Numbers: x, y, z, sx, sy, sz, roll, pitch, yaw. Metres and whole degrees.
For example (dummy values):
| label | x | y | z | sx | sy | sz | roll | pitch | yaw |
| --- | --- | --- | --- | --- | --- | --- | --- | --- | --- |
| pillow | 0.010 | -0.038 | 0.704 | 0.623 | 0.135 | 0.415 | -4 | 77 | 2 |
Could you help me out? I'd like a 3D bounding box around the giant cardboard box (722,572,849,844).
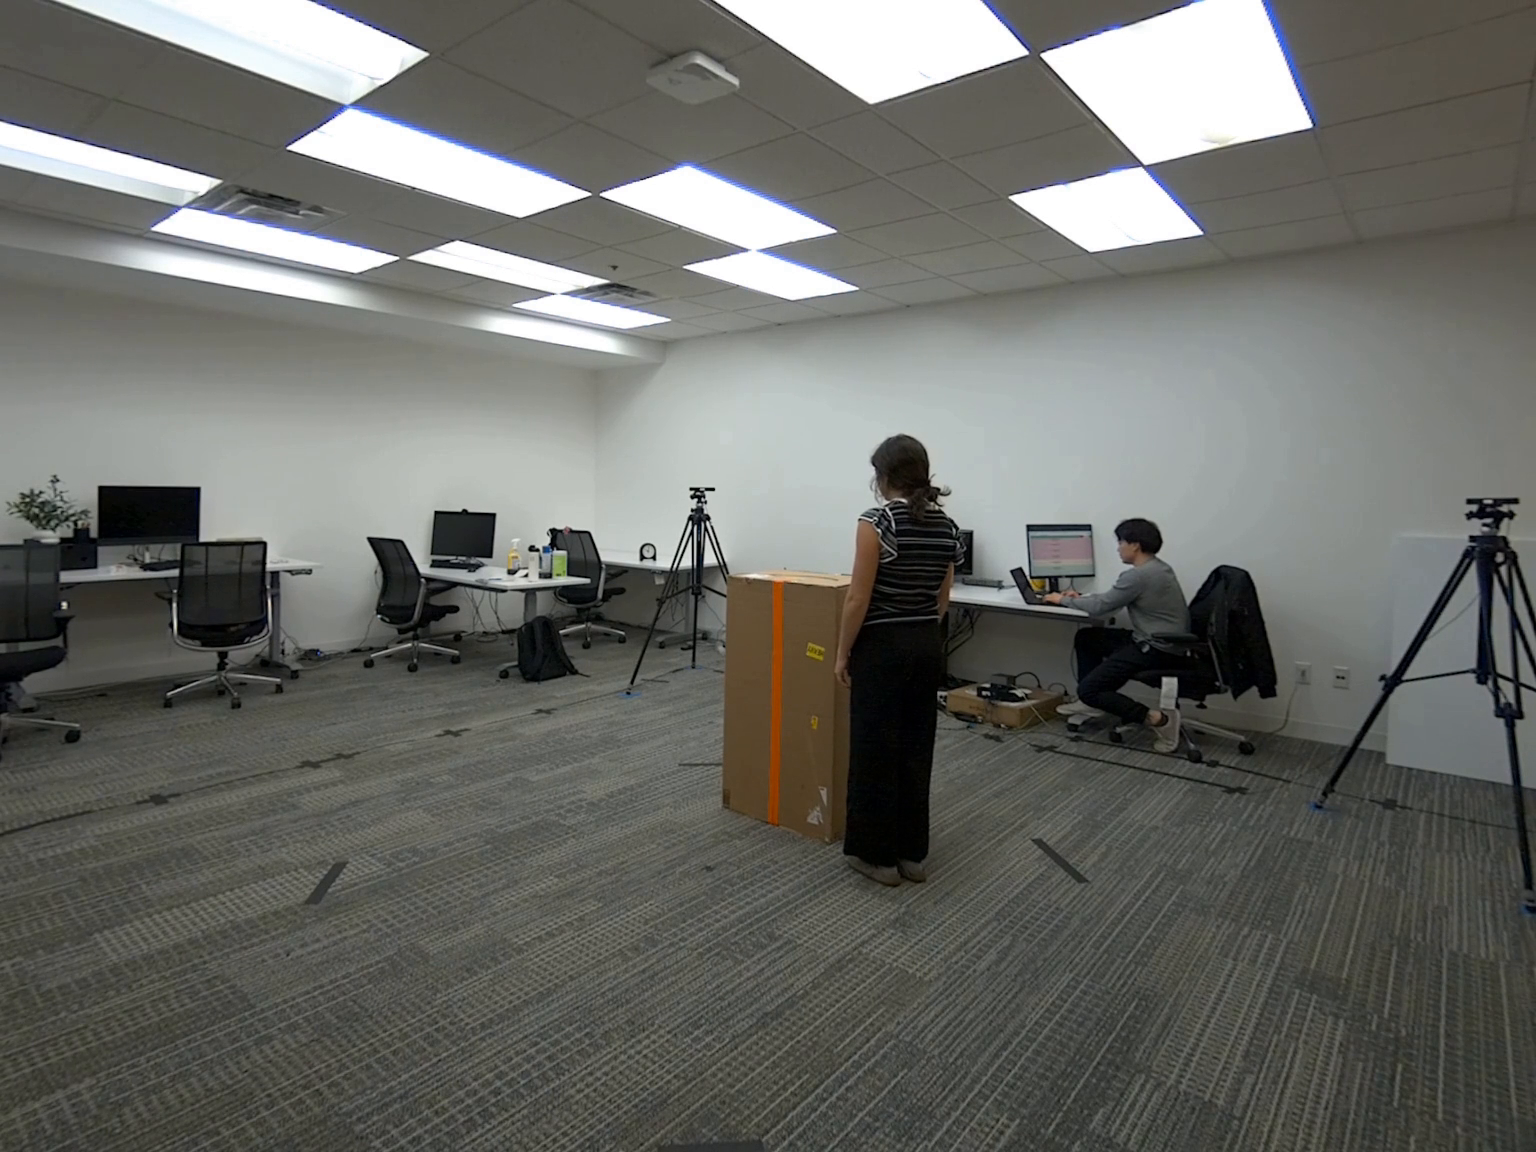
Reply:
| label | x | y | z | sx | sy | sz | roll | pitch | yaw |
| --- | --- | --- | --- | --- | --- | --- | --- | --- | --- |
| giant cardboard box | 0.150 | 0.514 | 3.666 | 0.597 | 1.023 | 0.413 | 4 | 4 | 40 |
